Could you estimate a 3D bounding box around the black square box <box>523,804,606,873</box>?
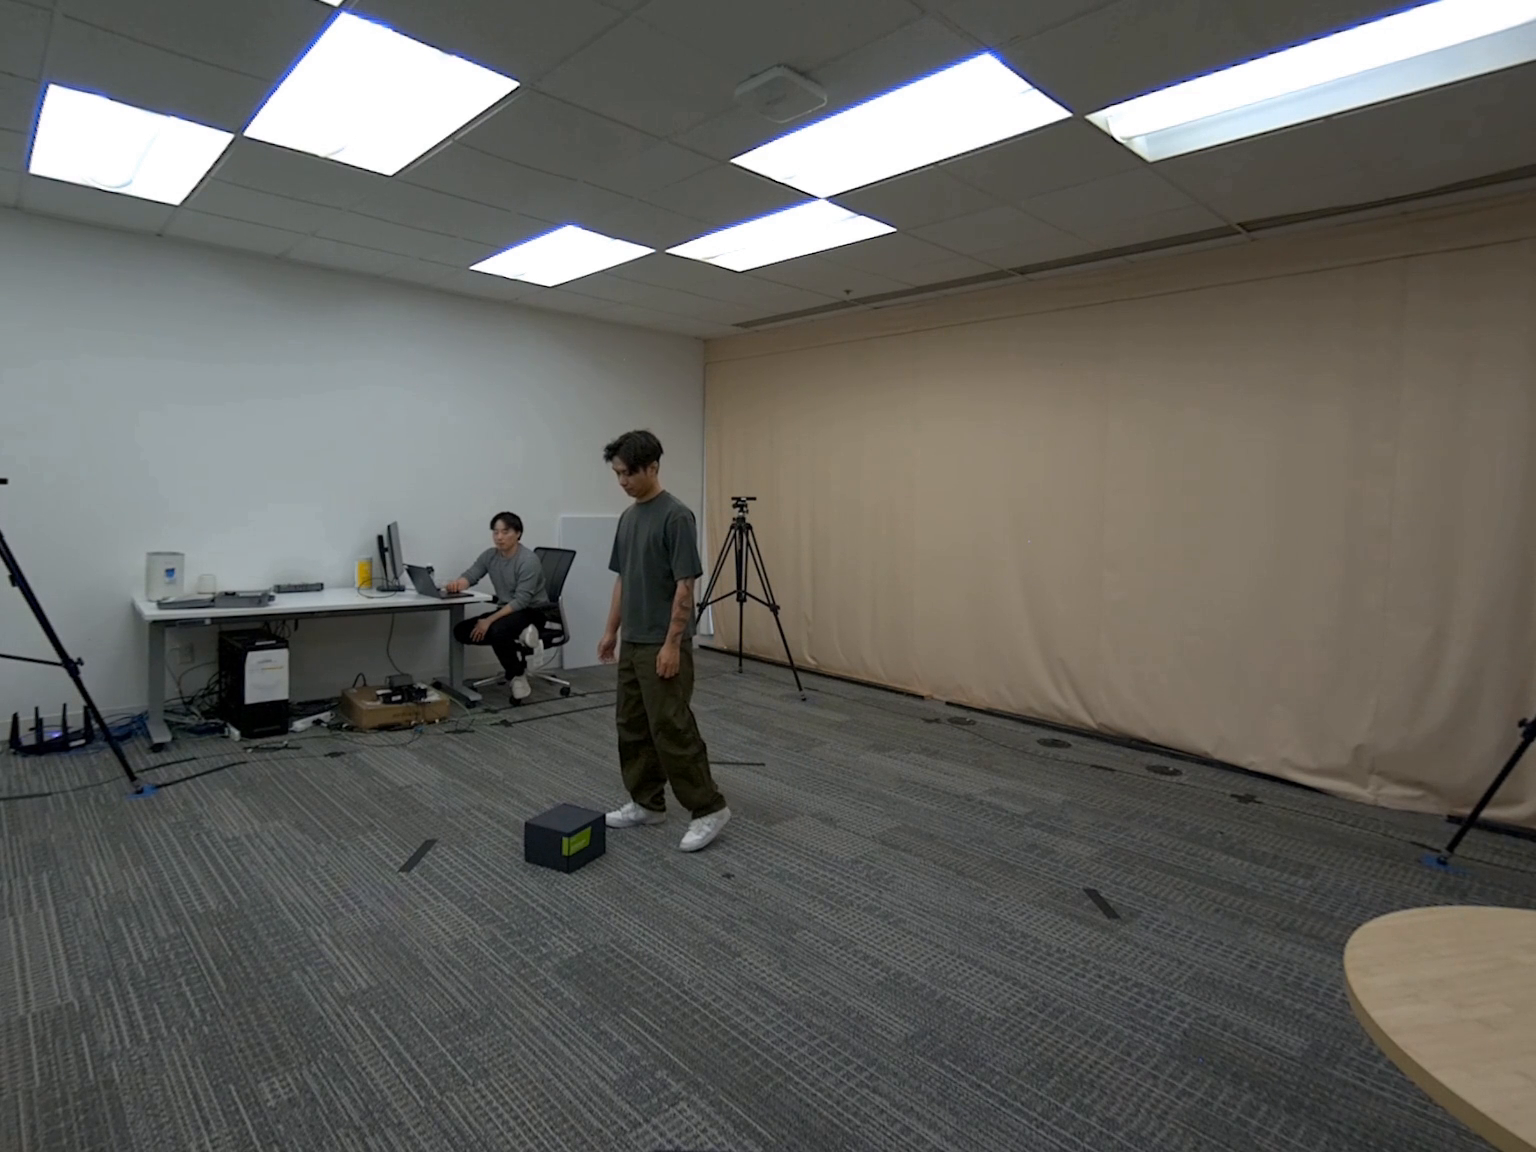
[{"bbox_3d":[-0.780,0.995,3.224,0.221,0.155,0.224,4,4,27],"label":"black square box"}]
